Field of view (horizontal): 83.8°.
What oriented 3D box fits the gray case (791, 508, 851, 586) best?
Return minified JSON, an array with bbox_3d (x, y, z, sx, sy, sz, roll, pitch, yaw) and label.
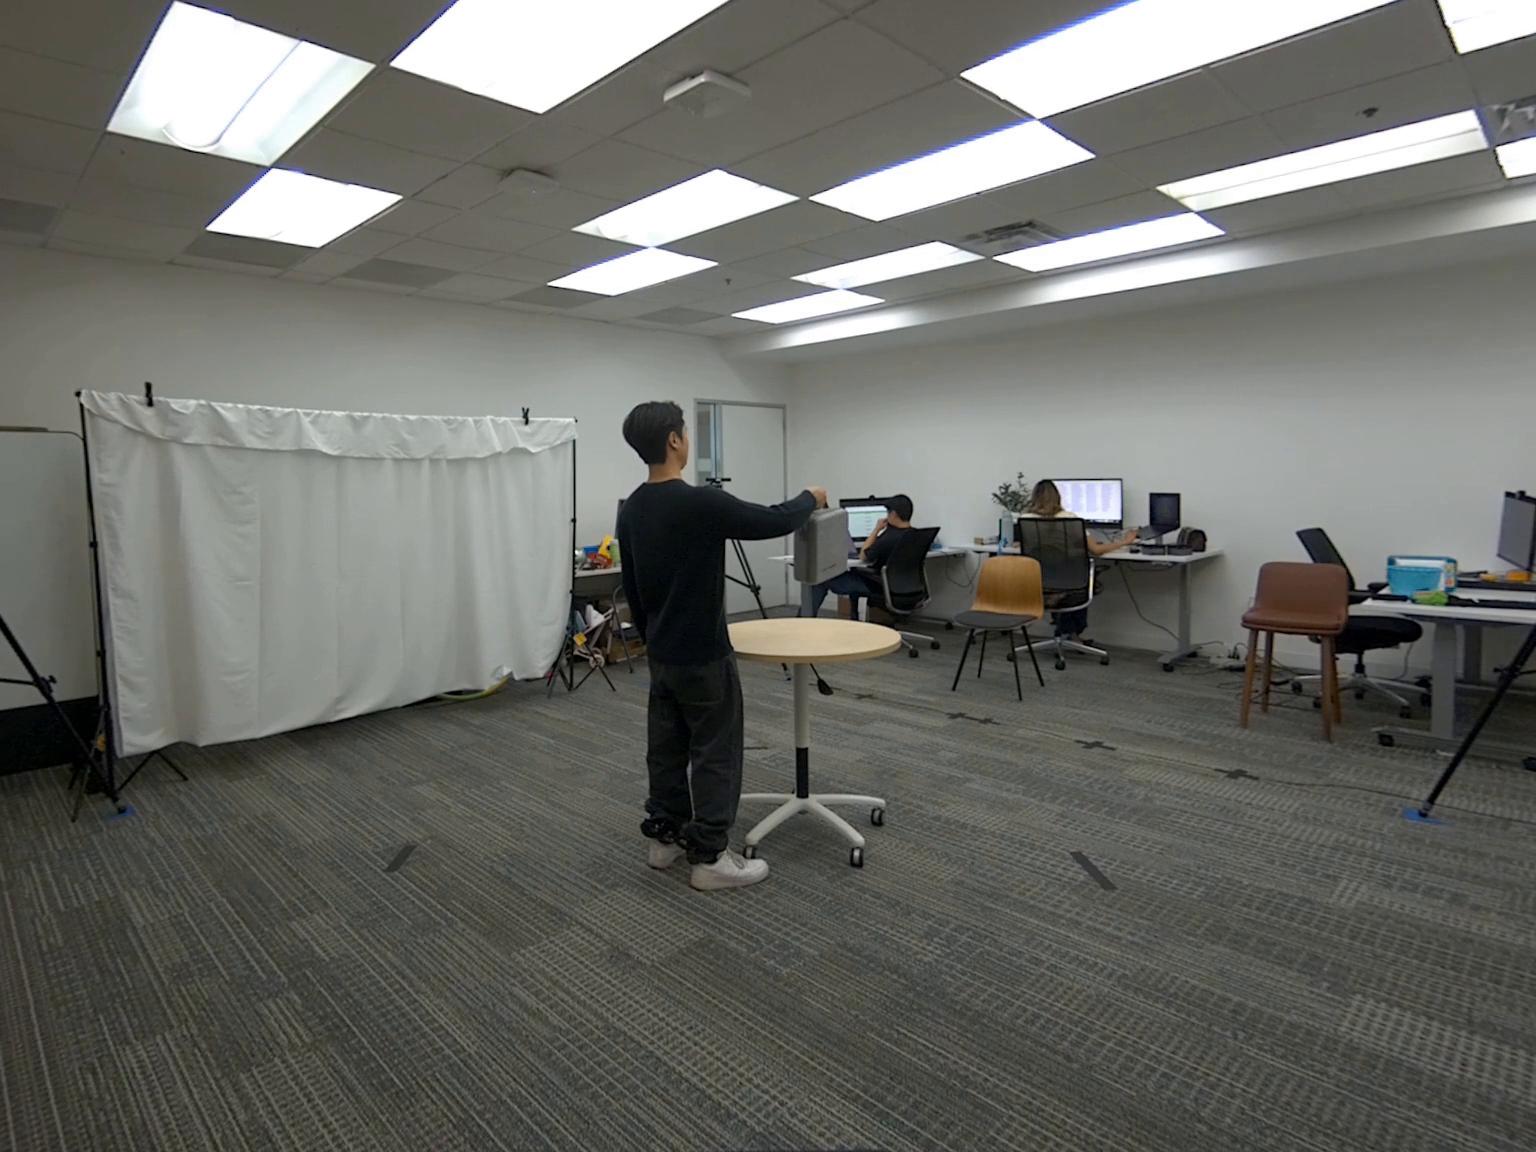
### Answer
[{"bbox_3d":[0.201,-0.116,3.146,0.107,0.258,0.252,7,15,32],"label":"gray case"}]
